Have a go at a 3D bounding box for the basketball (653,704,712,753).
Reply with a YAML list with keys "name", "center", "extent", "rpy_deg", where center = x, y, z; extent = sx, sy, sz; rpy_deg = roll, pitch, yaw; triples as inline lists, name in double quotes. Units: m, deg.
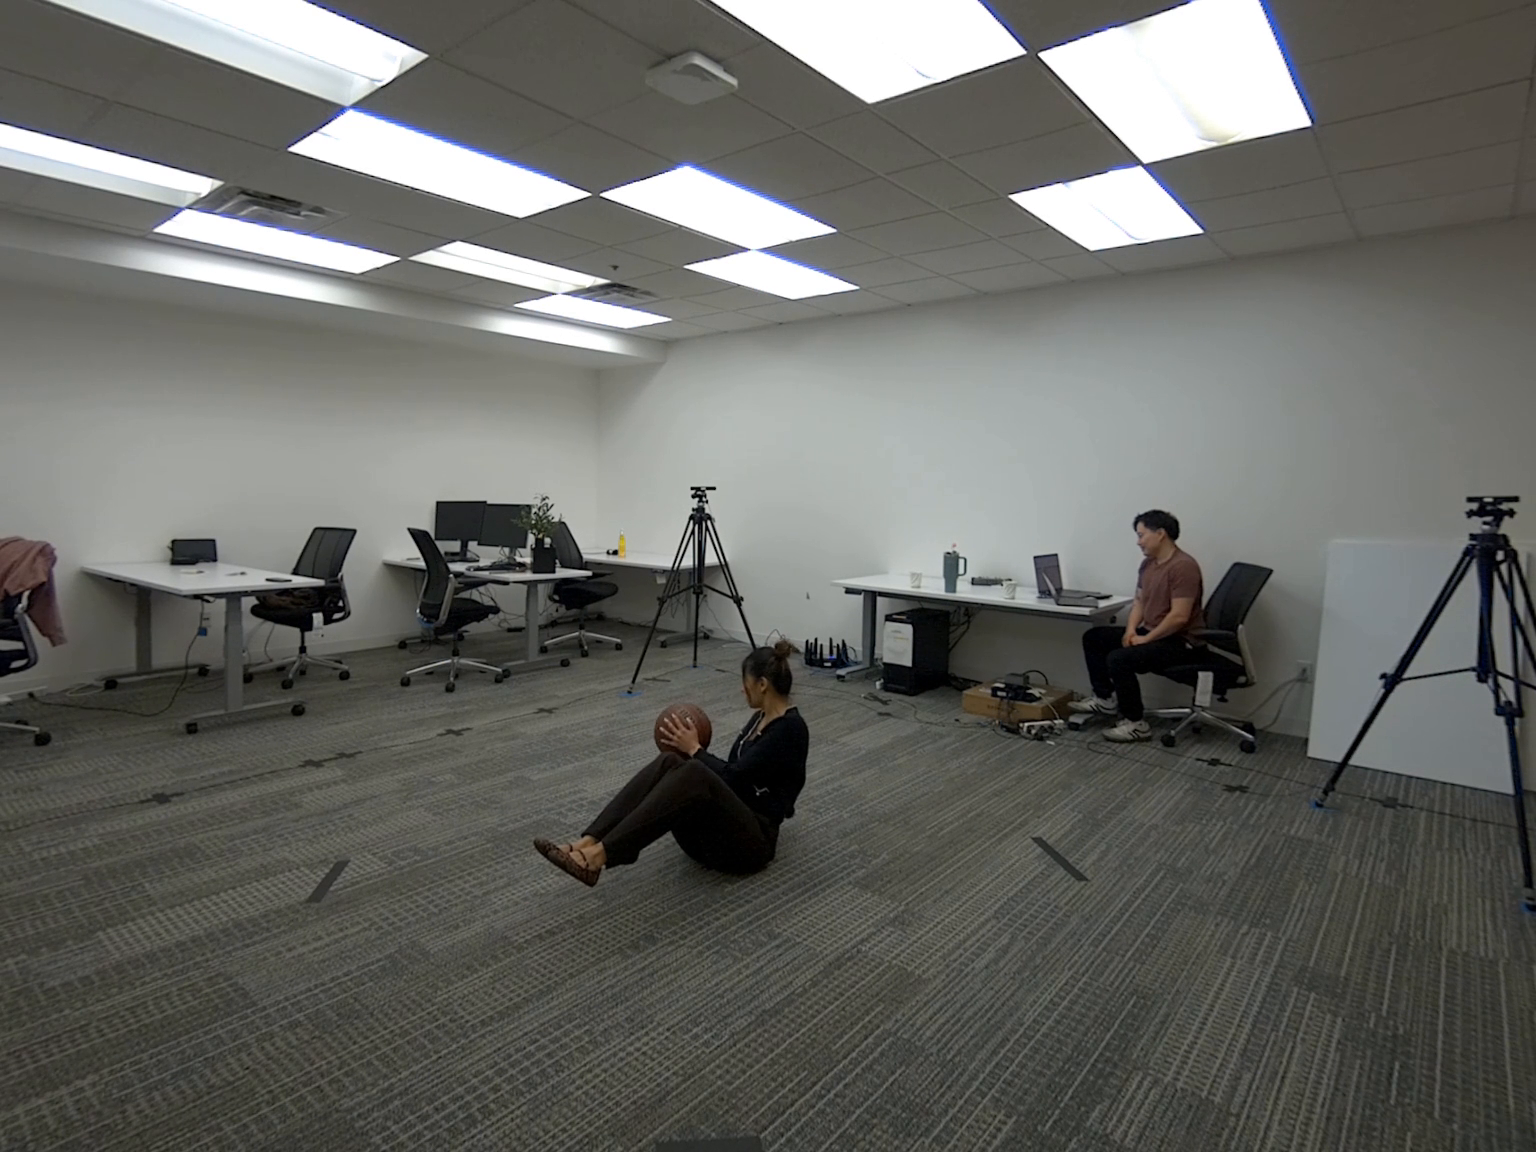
- name: "basketball"
  center: [-0.343, 0.631, 3.441]
  extent: [0.235, 0.235, 0.237]
  rpy_deg: [1, 4, -2]
